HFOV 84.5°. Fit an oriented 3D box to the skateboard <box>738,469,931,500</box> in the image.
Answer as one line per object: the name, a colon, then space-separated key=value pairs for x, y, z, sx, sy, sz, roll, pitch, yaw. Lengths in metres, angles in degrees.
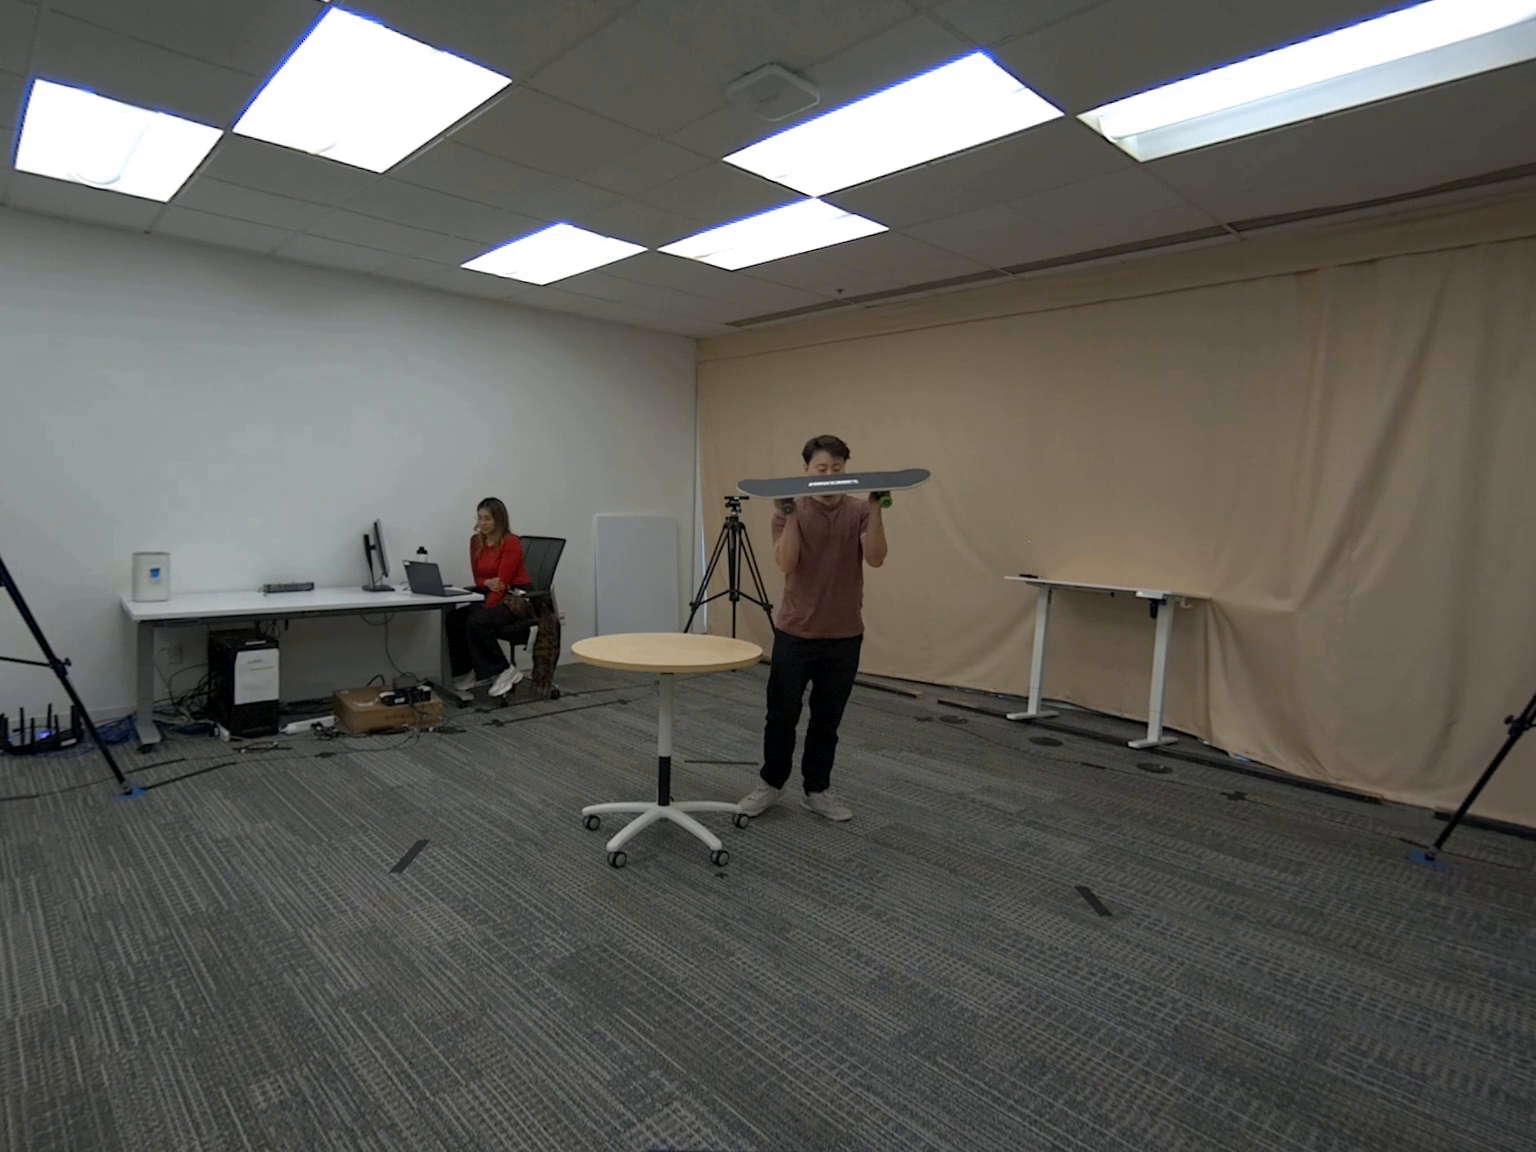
skateboard: x=0.266 y=-0.341 z=3.425 sx=0.785 sy=0.108 sz=0.197 roll=-4 pitch=28 yaw=-1
